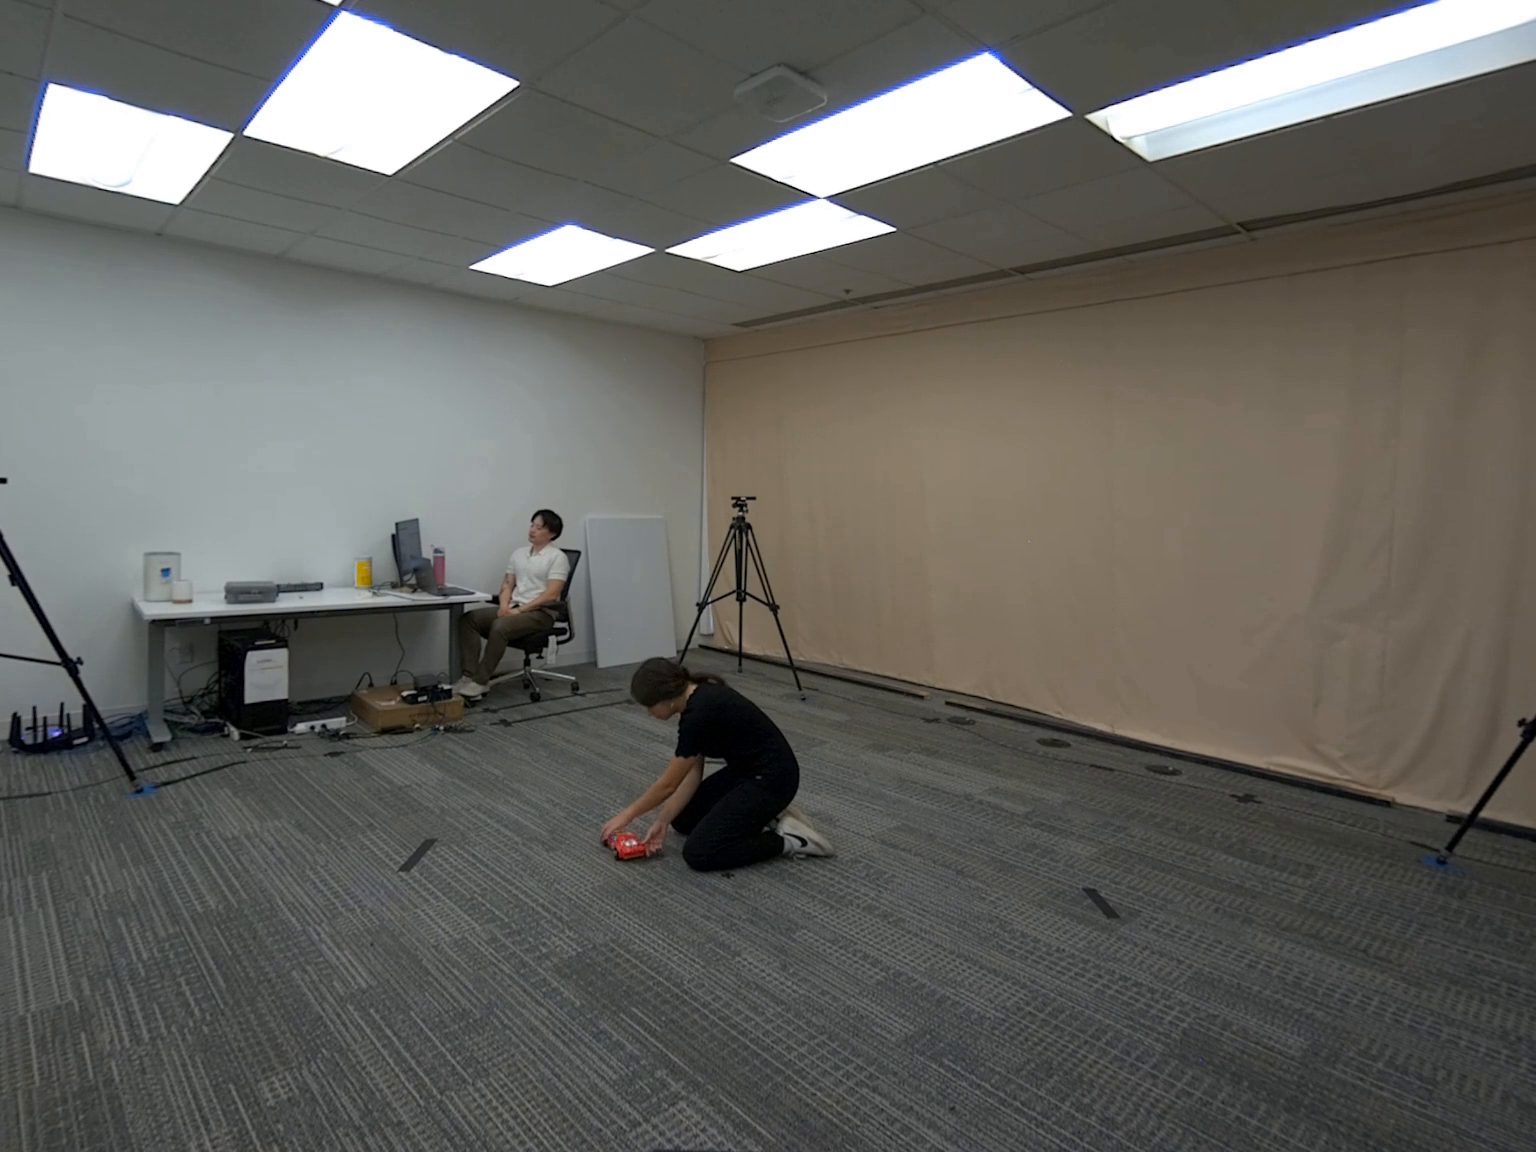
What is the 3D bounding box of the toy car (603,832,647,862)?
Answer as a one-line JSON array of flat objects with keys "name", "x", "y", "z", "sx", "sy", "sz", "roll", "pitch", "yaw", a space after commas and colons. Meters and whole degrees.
[{"name": "toy car", "x": -0.561, "y": 1.047, "z": 3.282, "sx": 0.128, "sy": 0.083, "sz": 0.258, "roll": -1, "pitch": -6, "yaw": -28}]
